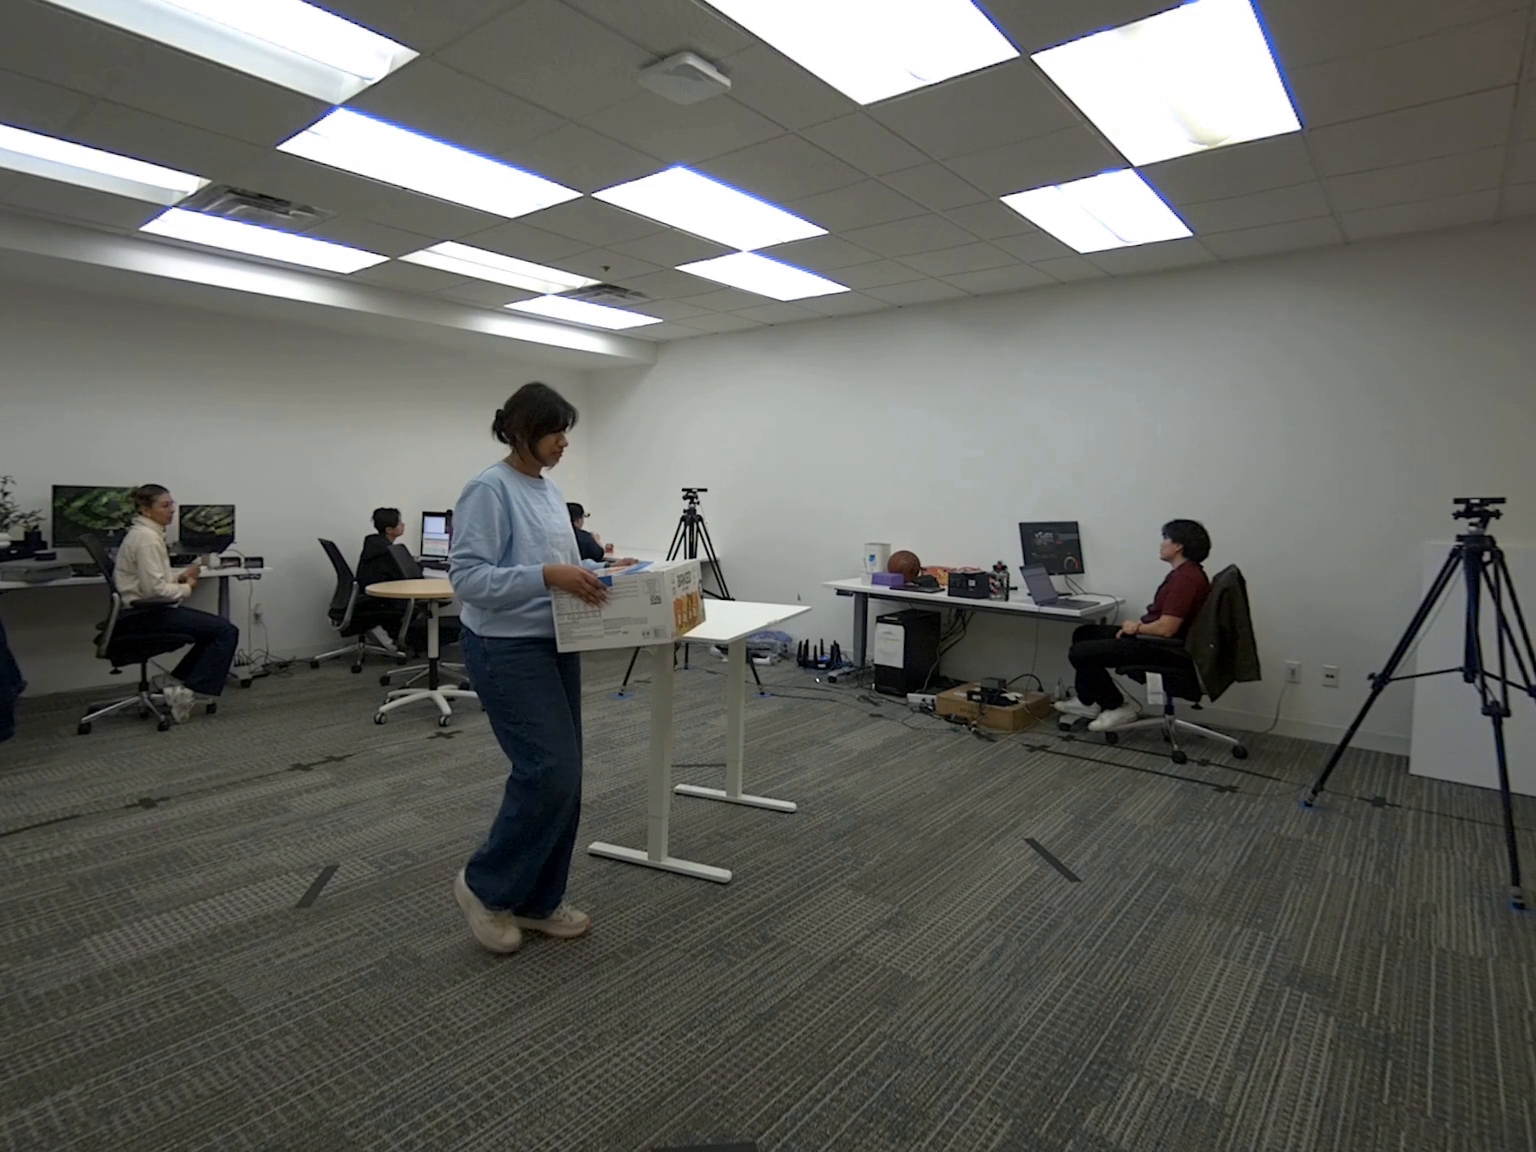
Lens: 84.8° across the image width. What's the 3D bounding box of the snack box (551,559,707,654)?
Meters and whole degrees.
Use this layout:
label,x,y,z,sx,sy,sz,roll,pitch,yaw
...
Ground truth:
label,x,y,z,sx,sy,sz,roll,pitch,yaw
snack box,-0.412,0.083,2.538,0.344,0.205,0.401,-6,4,12
